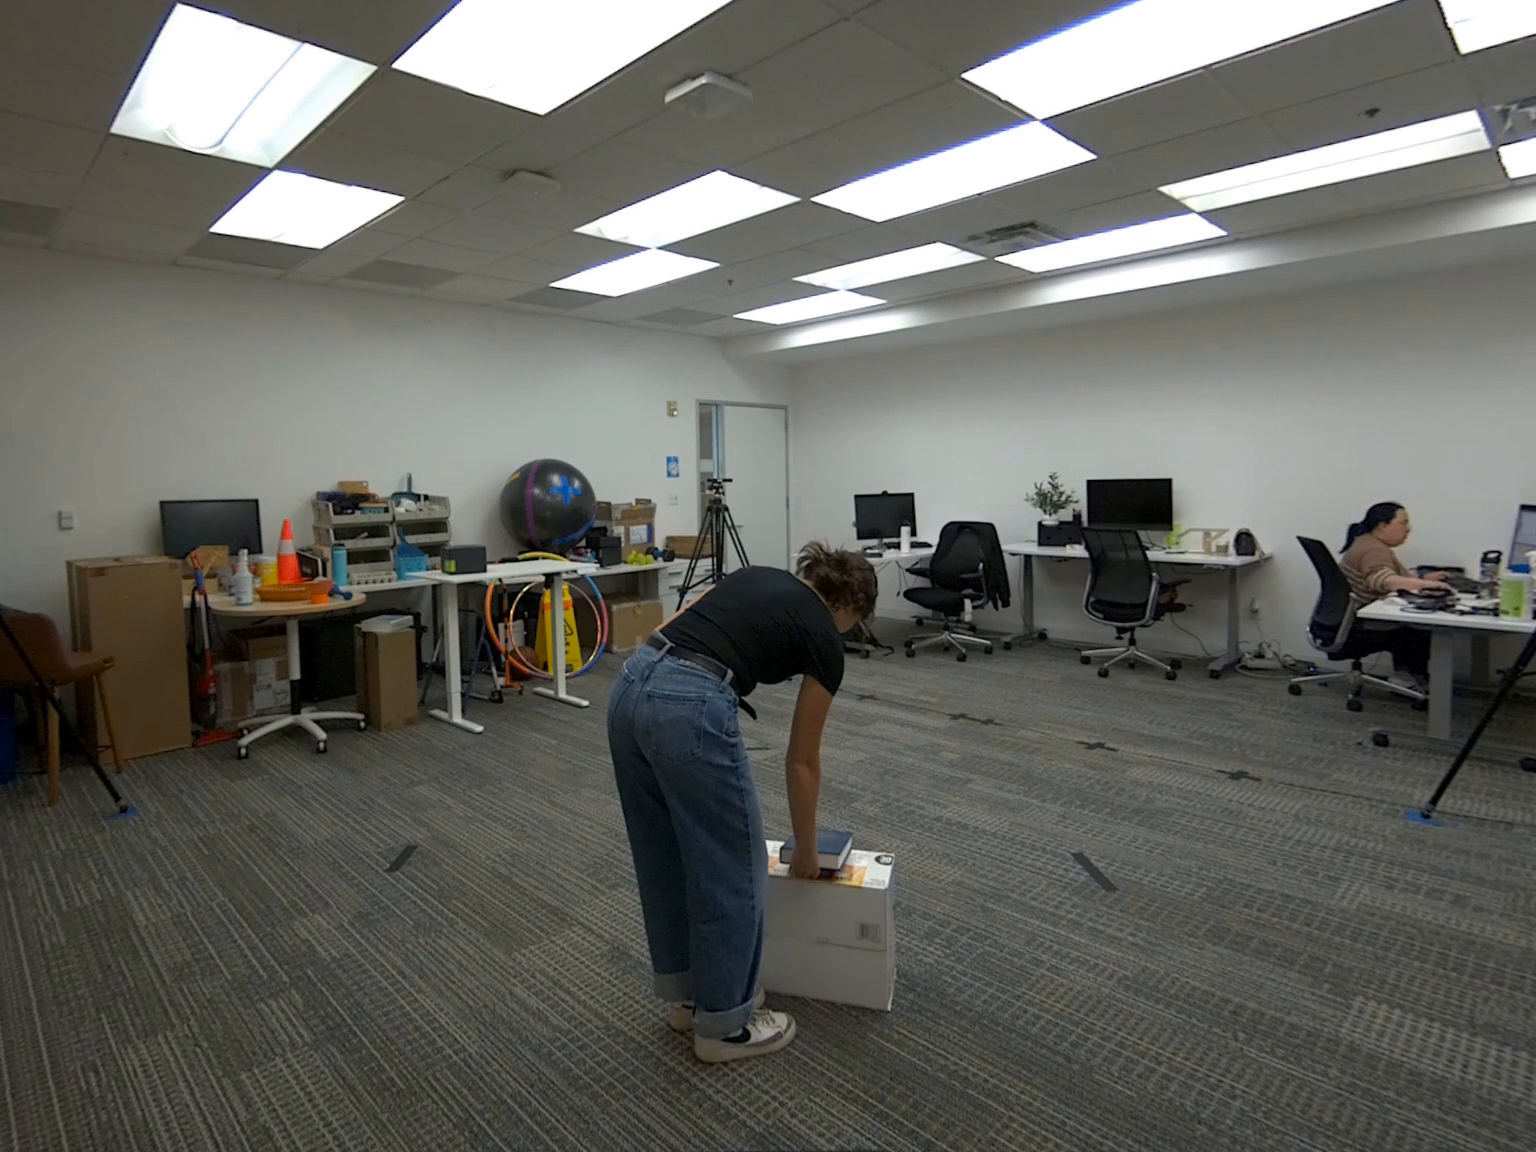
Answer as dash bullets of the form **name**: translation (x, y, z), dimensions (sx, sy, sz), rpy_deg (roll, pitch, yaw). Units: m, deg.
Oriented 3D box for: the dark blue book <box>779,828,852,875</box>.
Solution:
- **dark blue book**: translation (0.145, 0.753, 2.361), dimensions (0.166, 0.045, 0.241), rpy_deg (1, -2, 13)
